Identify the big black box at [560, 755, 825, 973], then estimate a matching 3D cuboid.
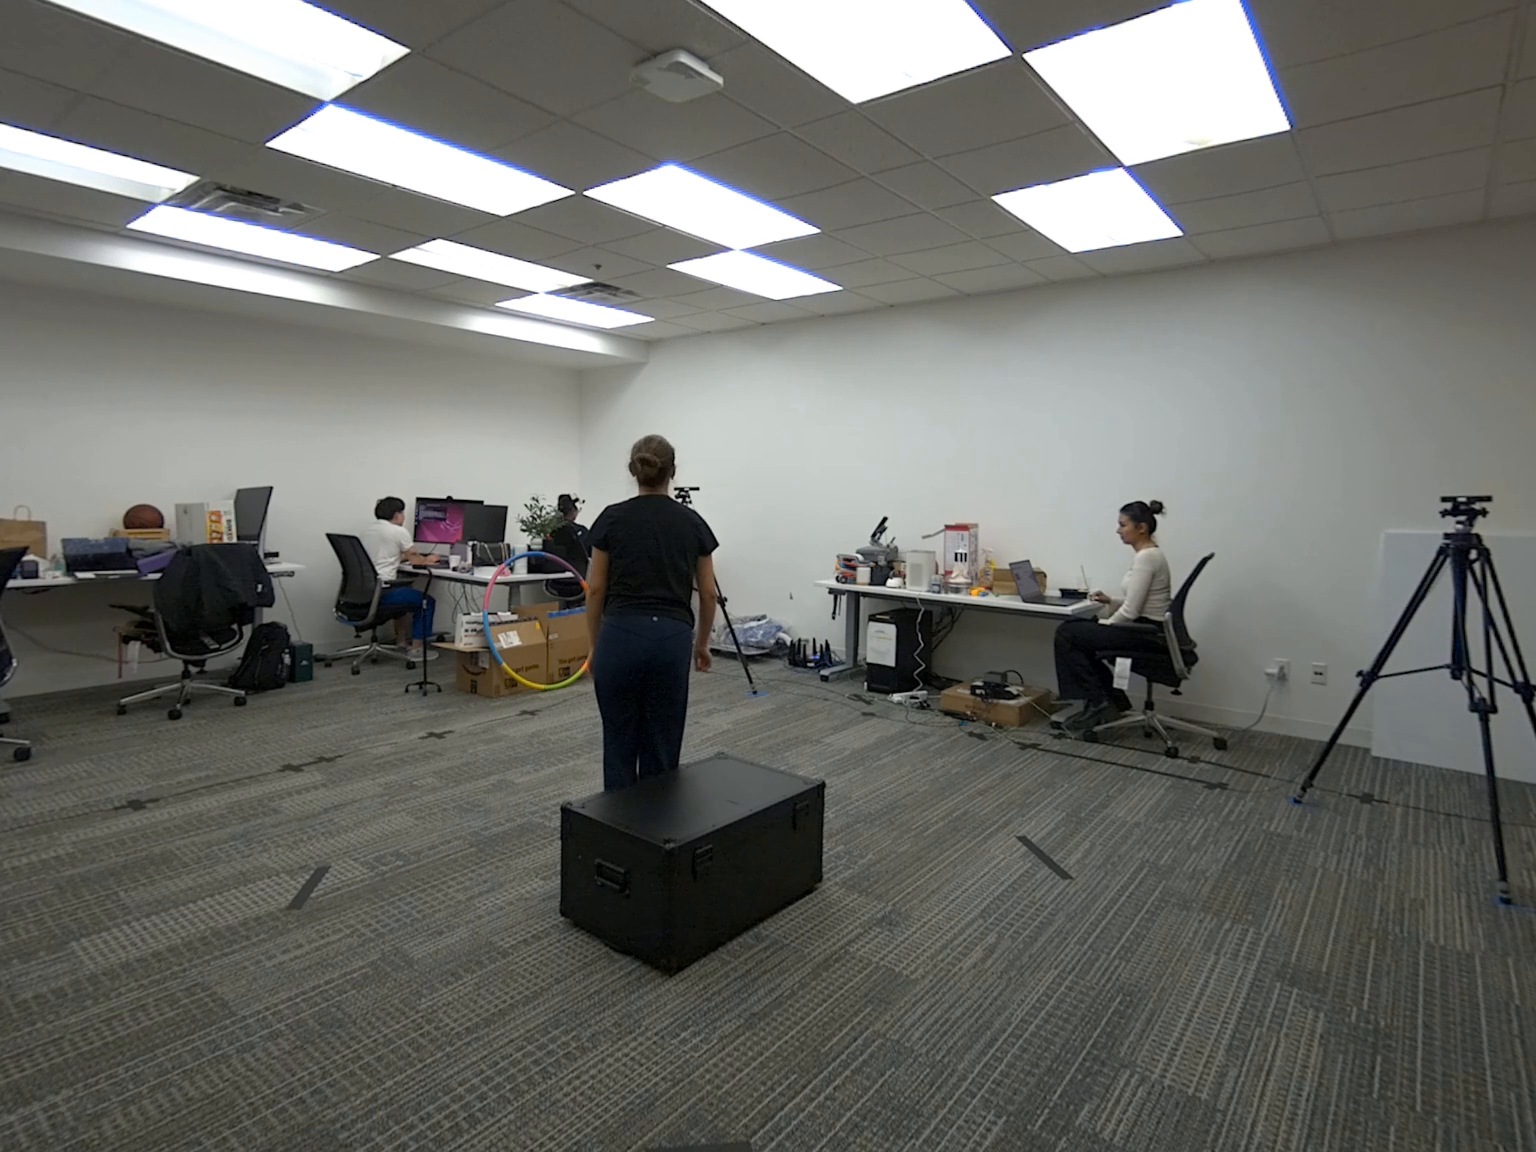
[{"bbox_3d":[-0.195,0.900,2.861,0.539,0.395,0.837,5,7,39],"label":"big black box"}]
